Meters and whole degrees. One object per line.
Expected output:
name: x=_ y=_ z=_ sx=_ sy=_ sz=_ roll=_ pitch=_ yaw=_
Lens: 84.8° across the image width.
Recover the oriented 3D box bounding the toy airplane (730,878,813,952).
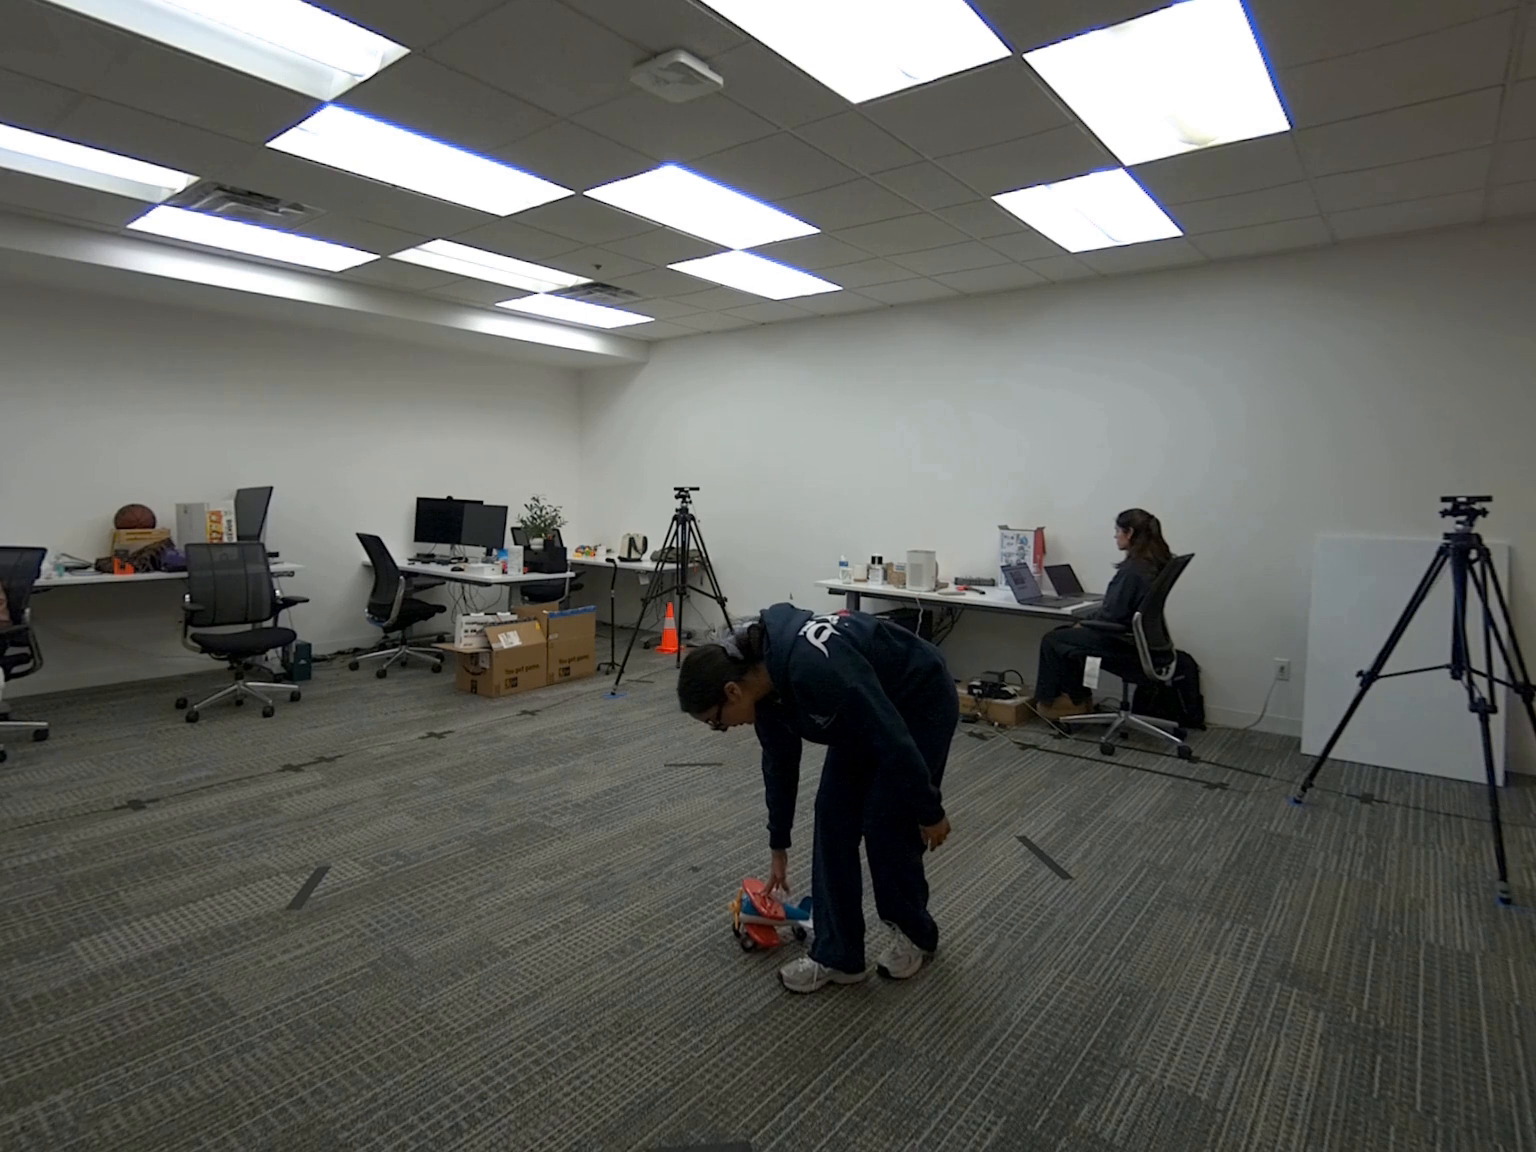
toy airplane: x=-0.003 y=1.041 z=2.629 sx=0.251 sy=0.156 sz=0.260 roll=-4 pitch=6 yaw=-43
